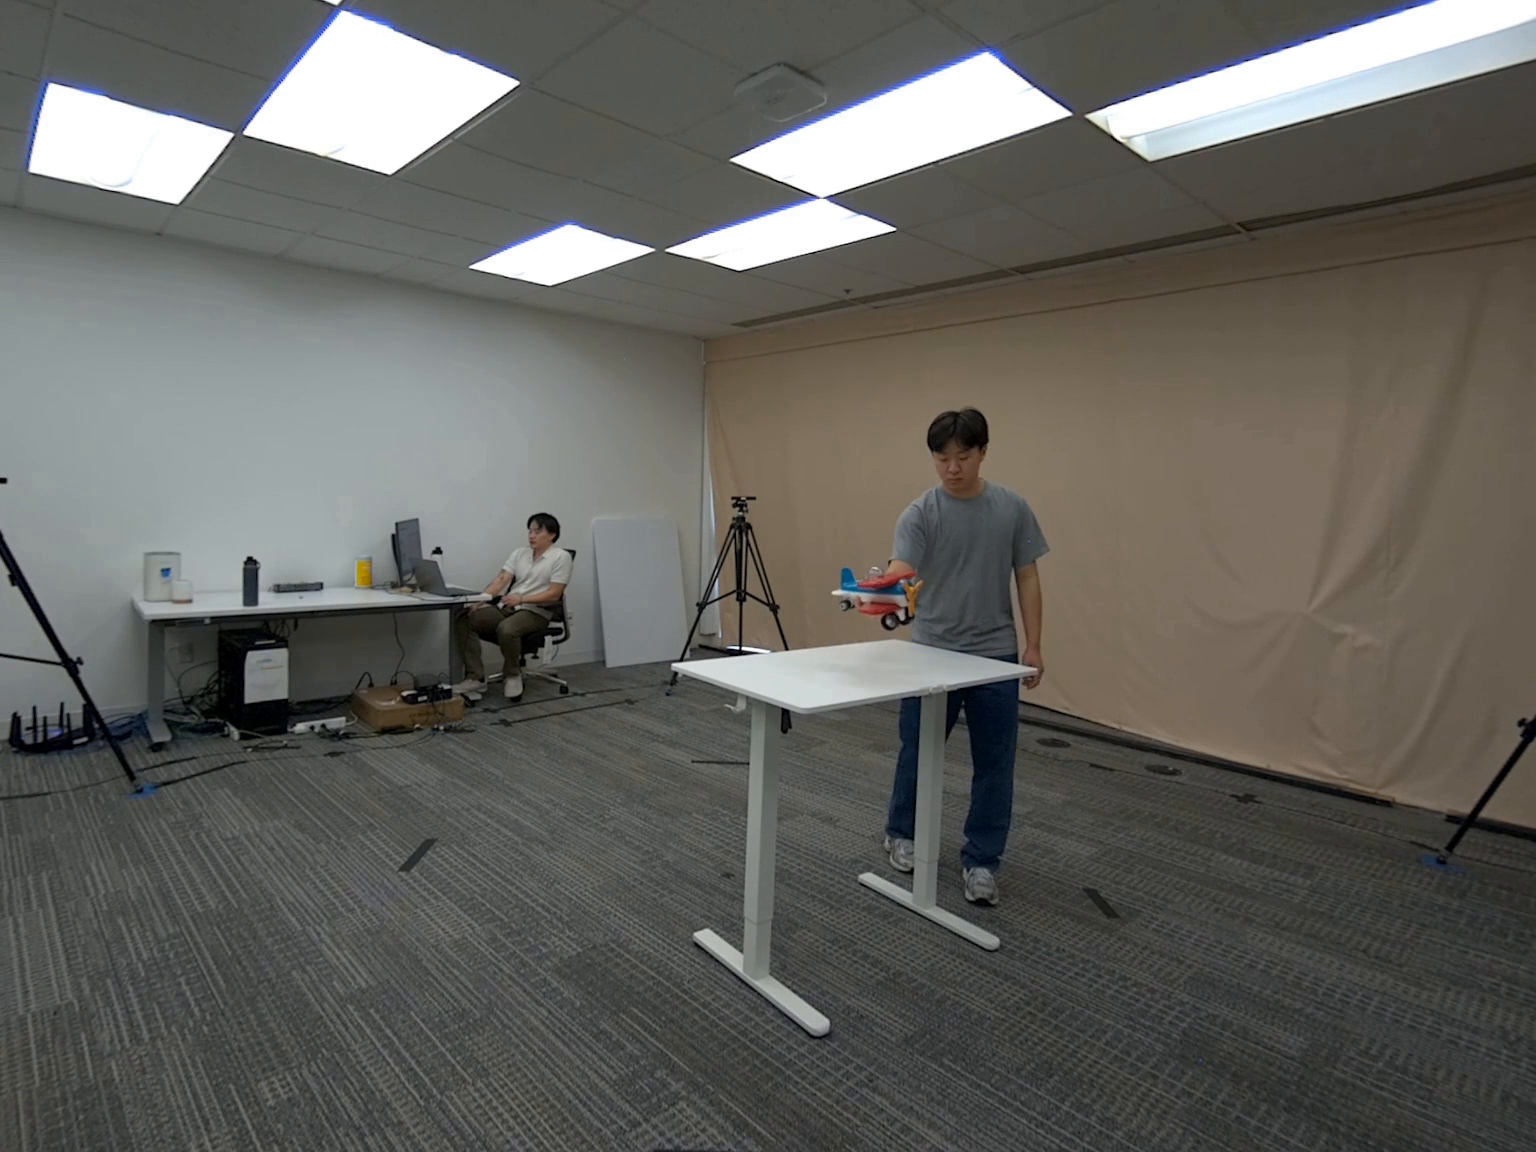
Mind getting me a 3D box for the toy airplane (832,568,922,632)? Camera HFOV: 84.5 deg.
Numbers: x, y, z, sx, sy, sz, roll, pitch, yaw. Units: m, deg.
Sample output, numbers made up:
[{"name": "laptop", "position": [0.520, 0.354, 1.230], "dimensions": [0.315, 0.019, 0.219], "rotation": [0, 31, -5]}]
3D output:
[{"name": "toy airplane", "position": [0.313, 0.062, 2.537], "dimensions": [0.262, 0.155, 0.251], "rotation": [11, 16, 11]}]
